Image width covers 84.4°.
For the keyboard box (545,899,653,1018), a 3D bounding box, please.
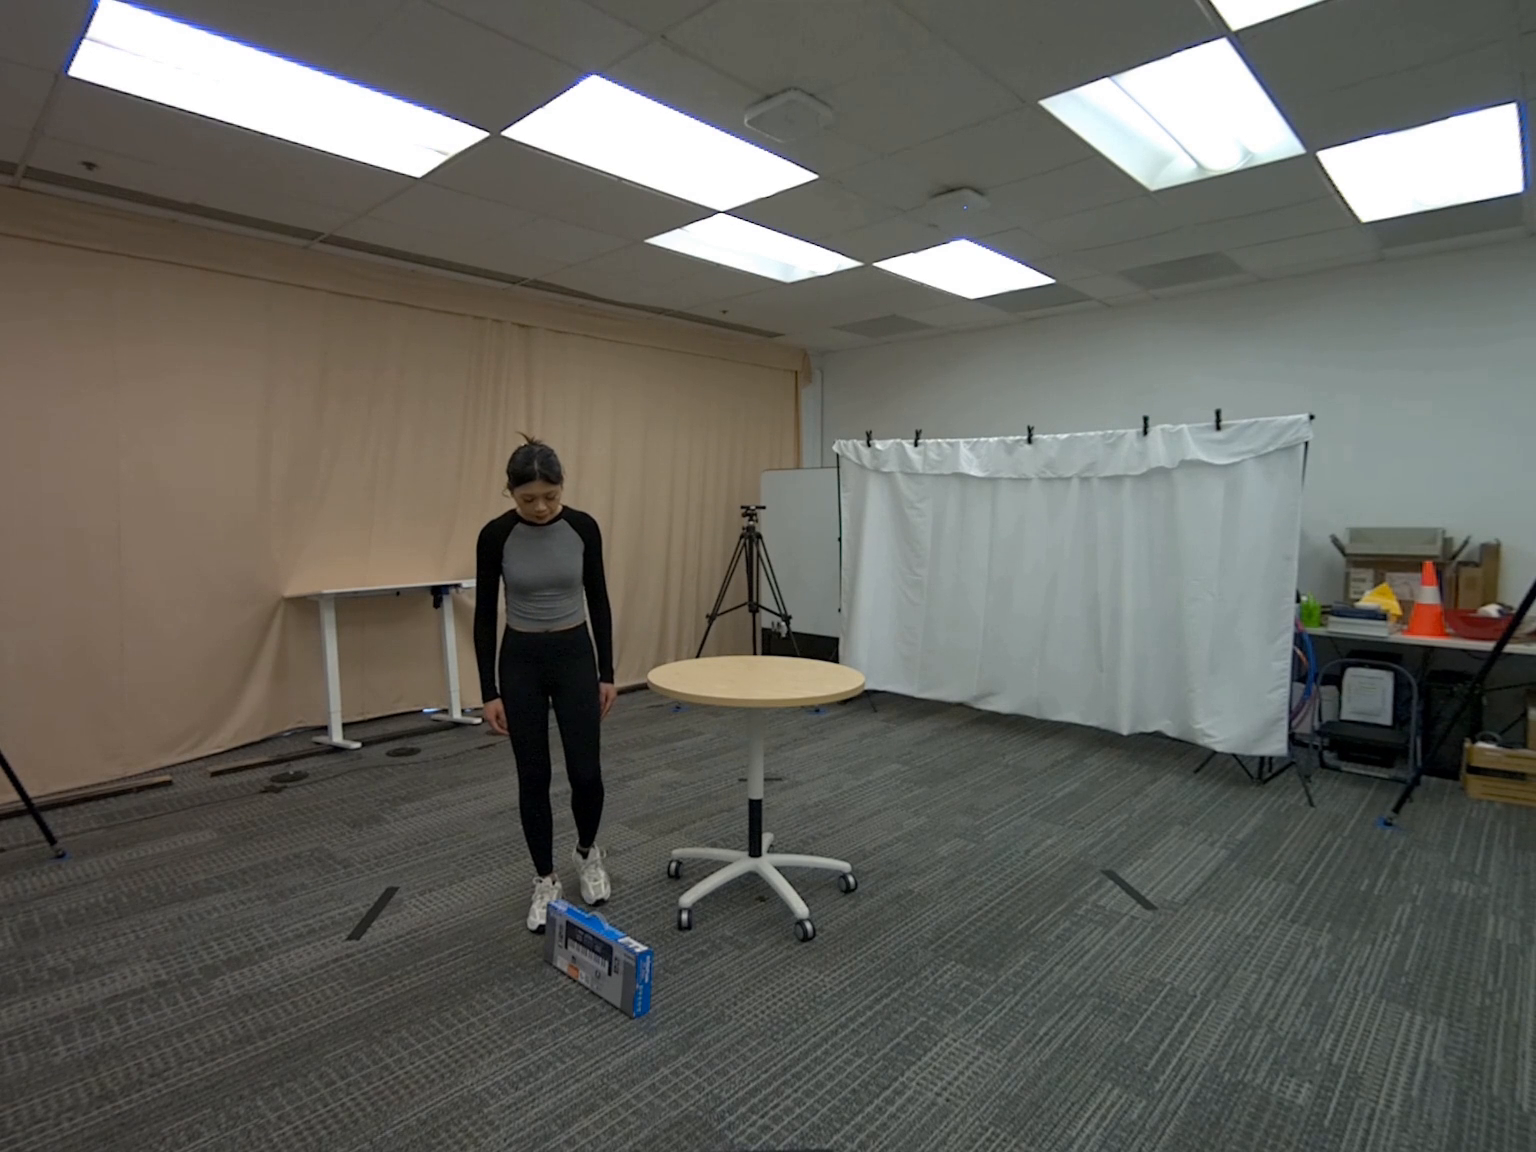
[{"bbox_3d":[-0.503,1.106,2.449,0.451,0.176,0.057,3,-1,43],"label":"keyboard box"}]
